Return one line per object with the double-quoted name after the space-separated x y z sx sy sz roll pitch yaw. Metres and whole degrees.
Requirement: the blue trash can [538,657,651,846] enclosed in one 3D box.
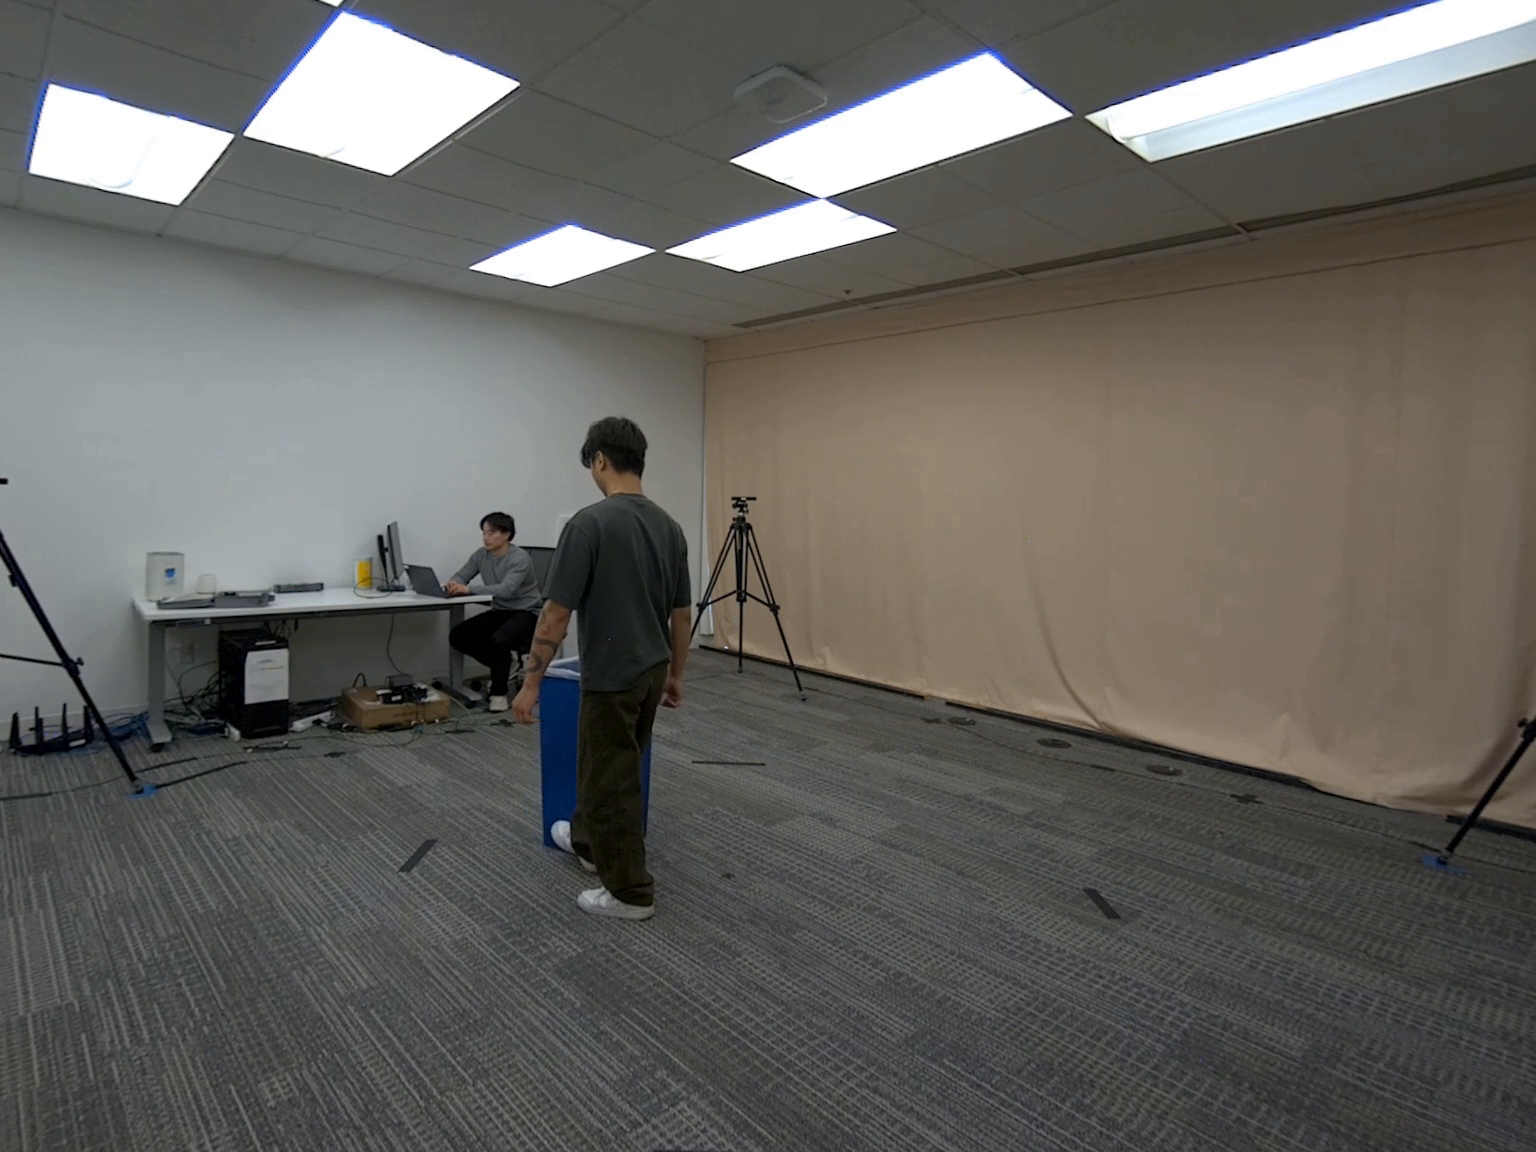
-0.697 0.714 3.377 0.386 0.713 0.367 2 1 28 "blue trash can"
